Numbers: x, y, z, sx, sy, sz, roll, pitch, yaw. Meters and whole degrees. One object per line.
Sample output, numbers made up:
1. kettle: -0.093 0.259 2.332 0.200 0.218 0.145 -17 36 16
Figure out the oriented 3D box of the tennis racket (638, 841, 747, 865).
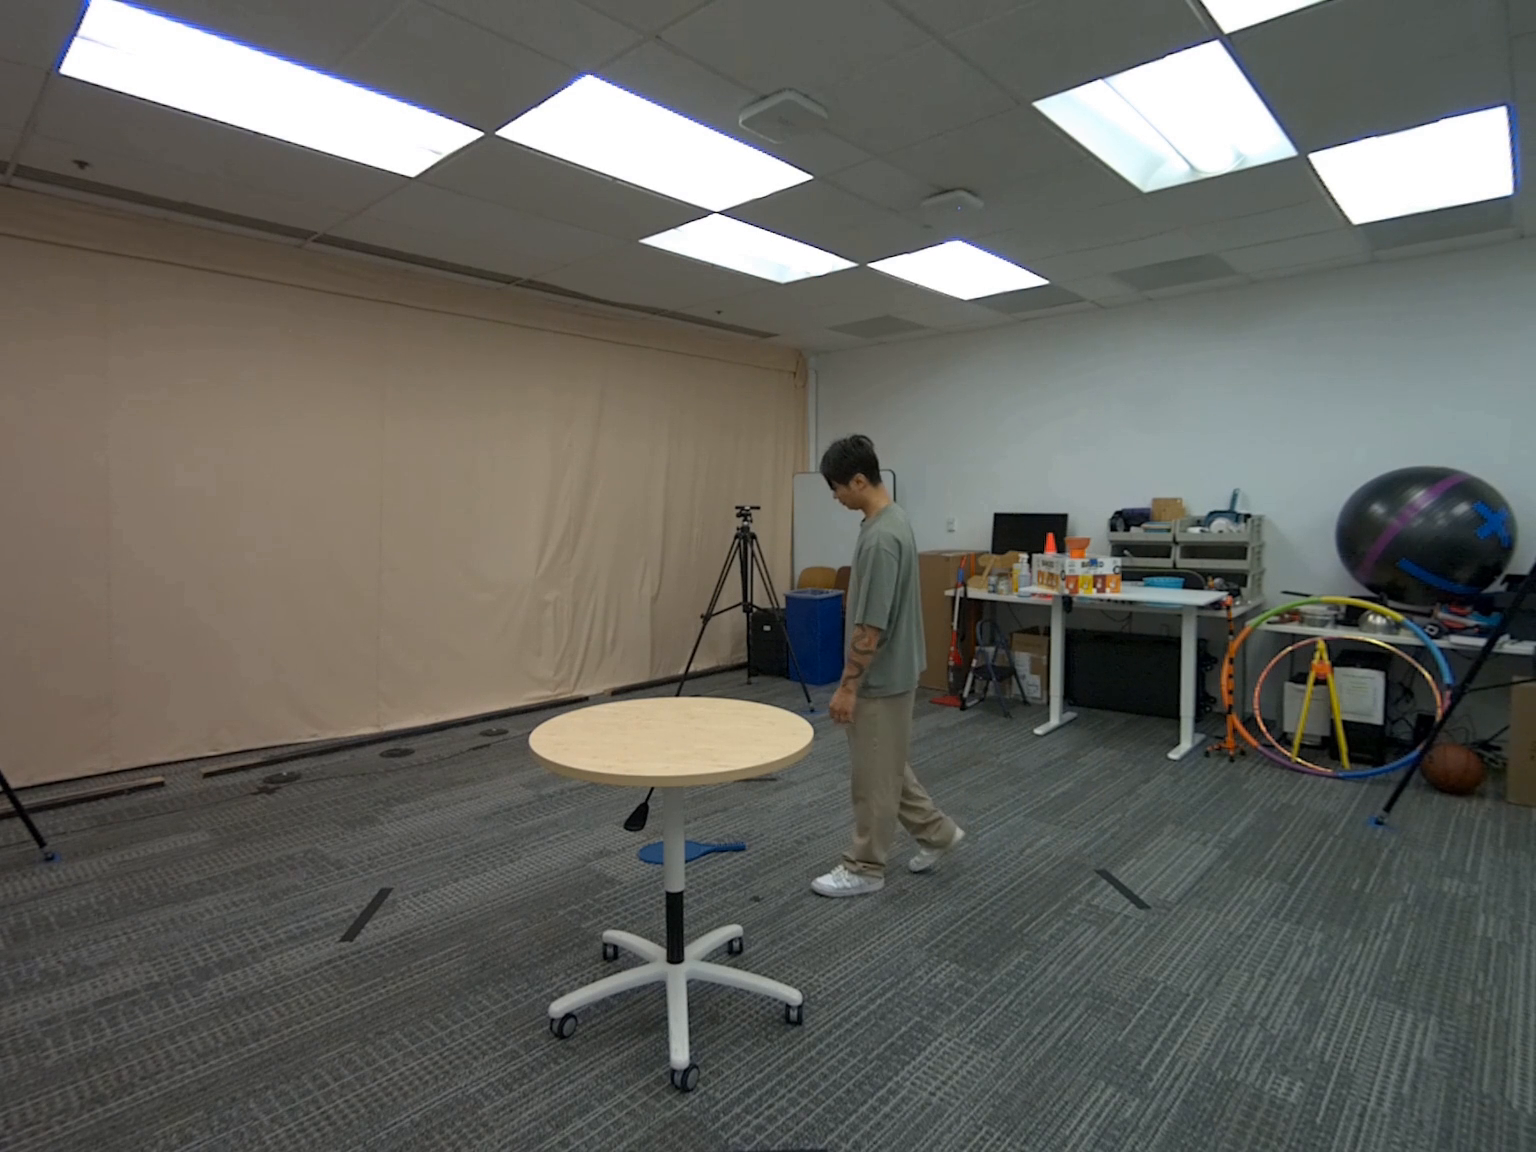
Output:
1. tennis racket: -0.301 1.096 3.384 0.429 0.032 0.216 -2 3 -8
